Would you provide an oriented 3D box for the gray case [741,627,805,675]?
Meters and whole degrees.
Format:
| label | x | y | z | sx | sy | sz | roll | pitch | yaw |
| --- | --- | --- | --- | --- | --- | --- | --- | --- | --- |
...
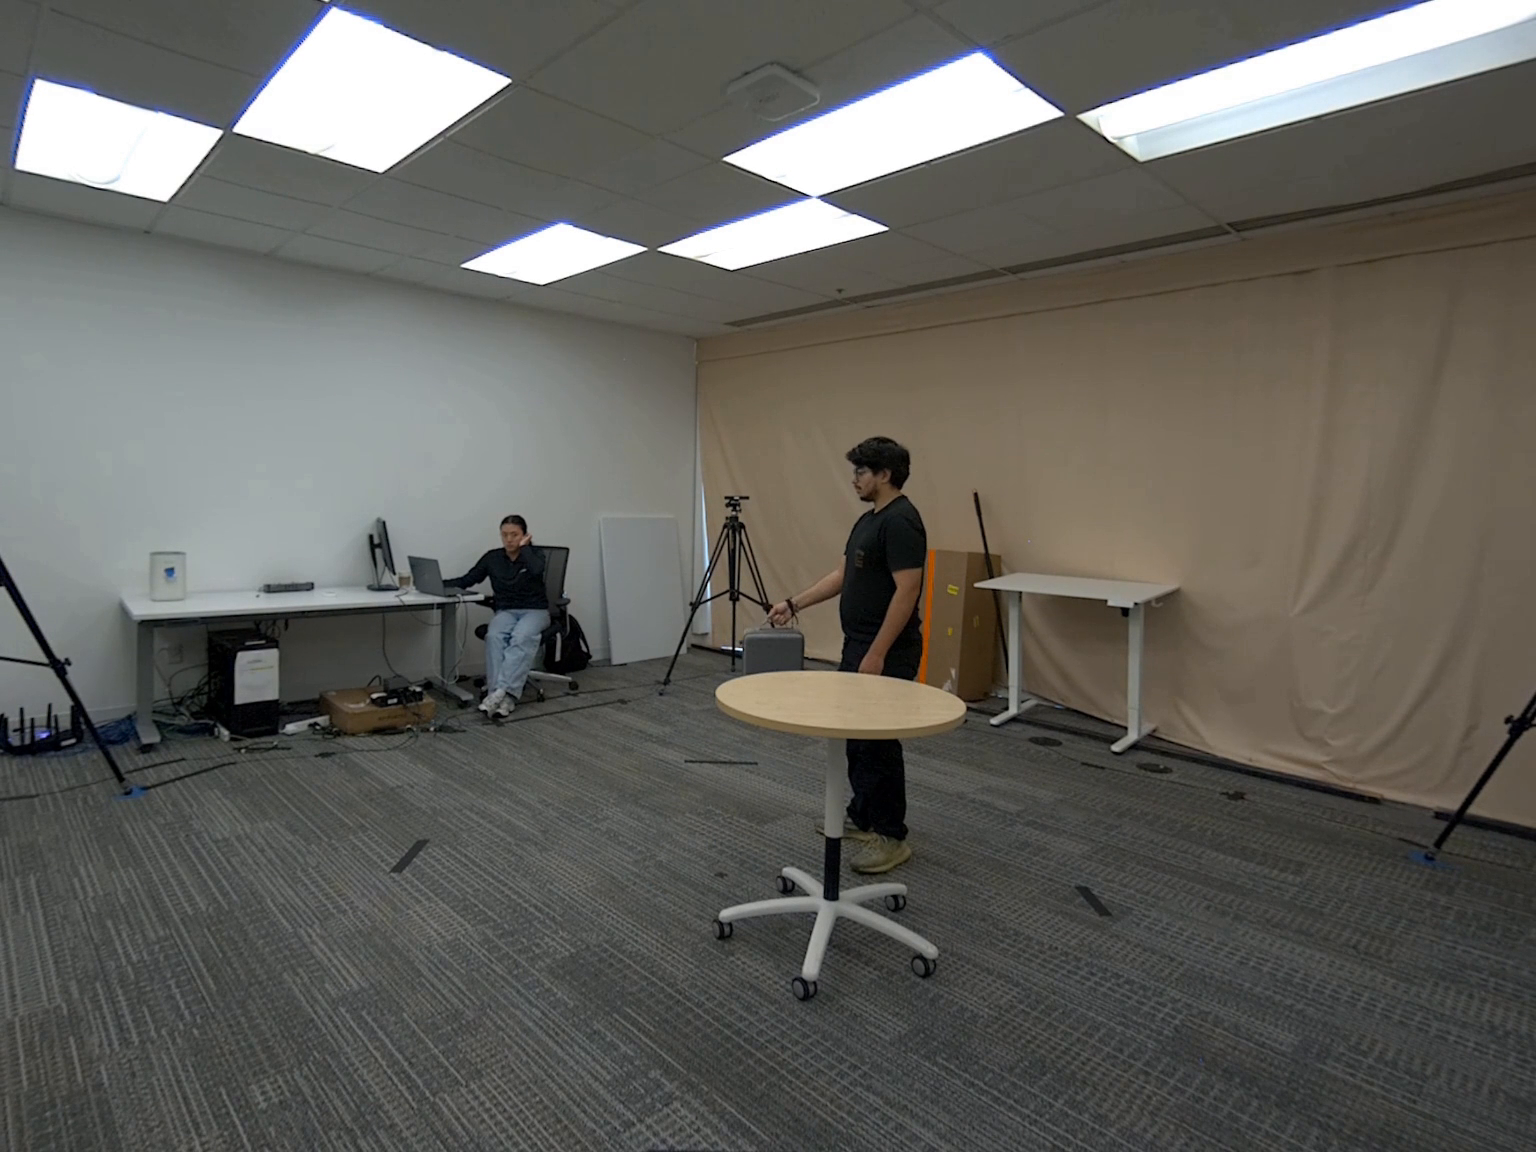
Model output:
| label | x | y | z | sx | sy | sz | roll | pitch | yaw |
| --- | --- | --- | --- | --- | --- | --- | --- | --- | --- |
| gray case | 0.014 | 0.339 | 3.528 | 0.257 | 0.258 | 0.105 | 2 | 11 | 0 |
